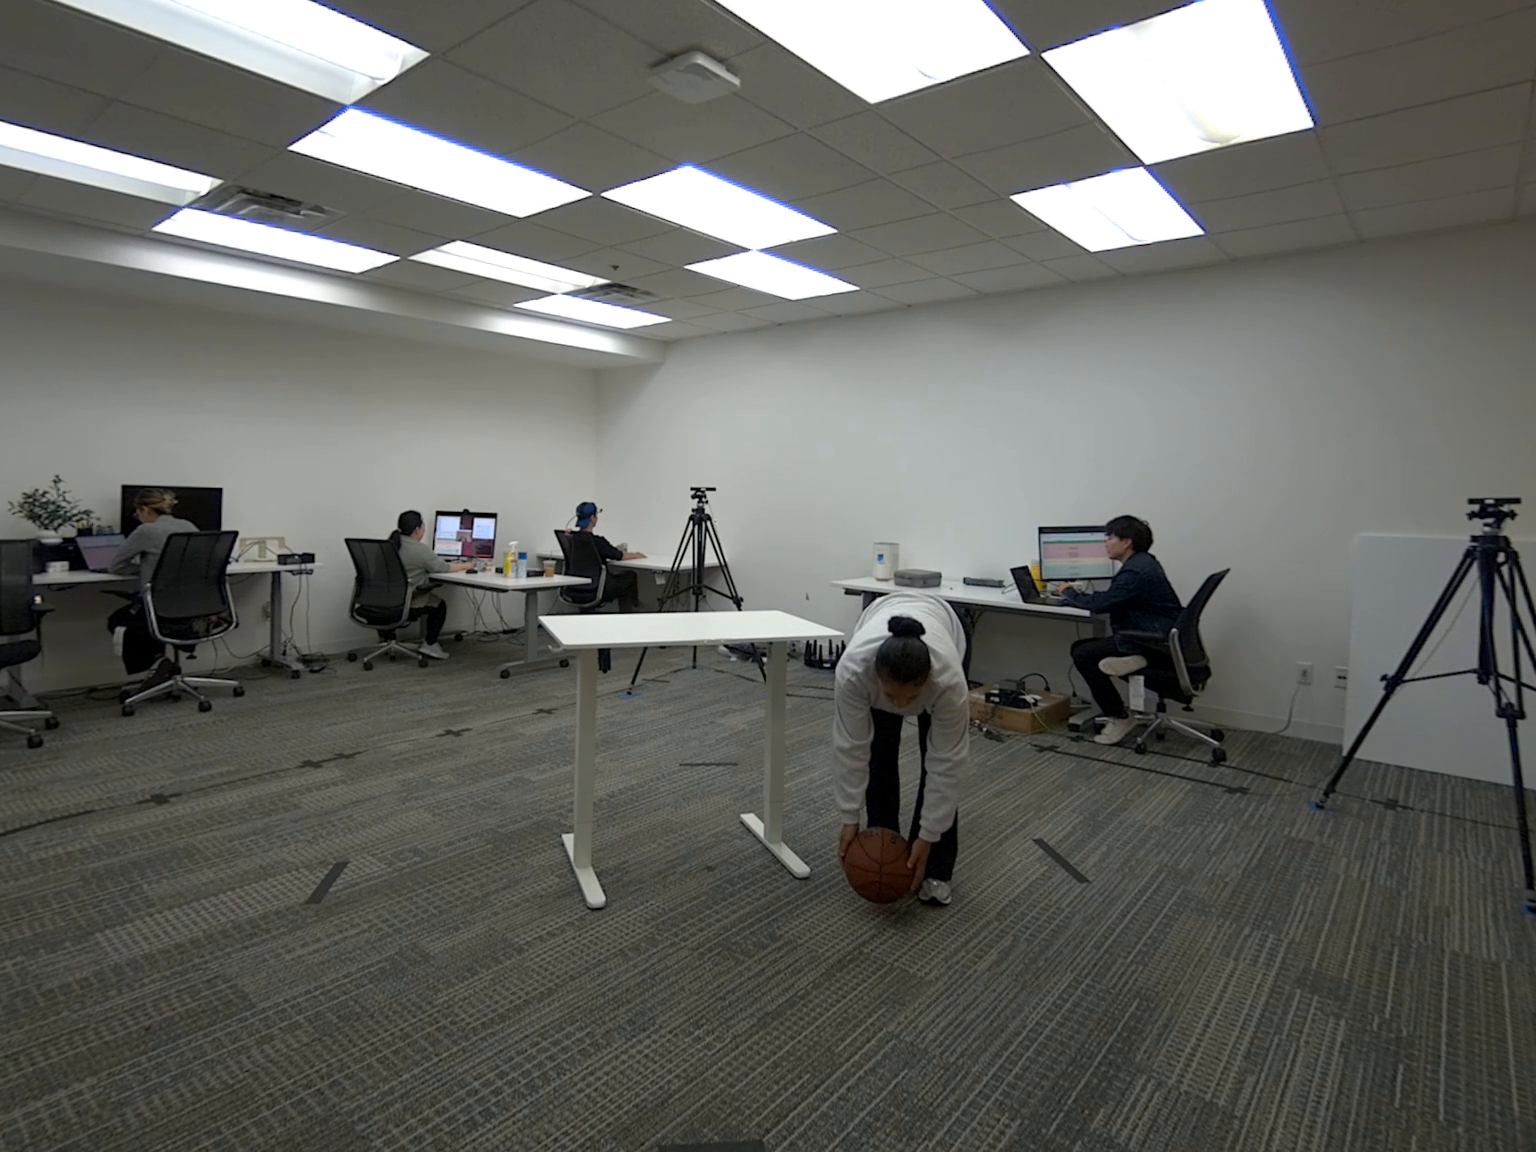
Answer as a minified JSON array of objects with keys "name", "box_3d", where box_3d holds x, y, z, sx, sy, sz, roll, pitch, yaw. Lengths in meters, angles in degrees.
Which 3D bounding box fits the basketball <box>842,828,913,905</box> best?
[{"name":"basketball","box_3d":[0.370,0.934,2.831,0.235,0.235,0.237,1,4,-2]}]
